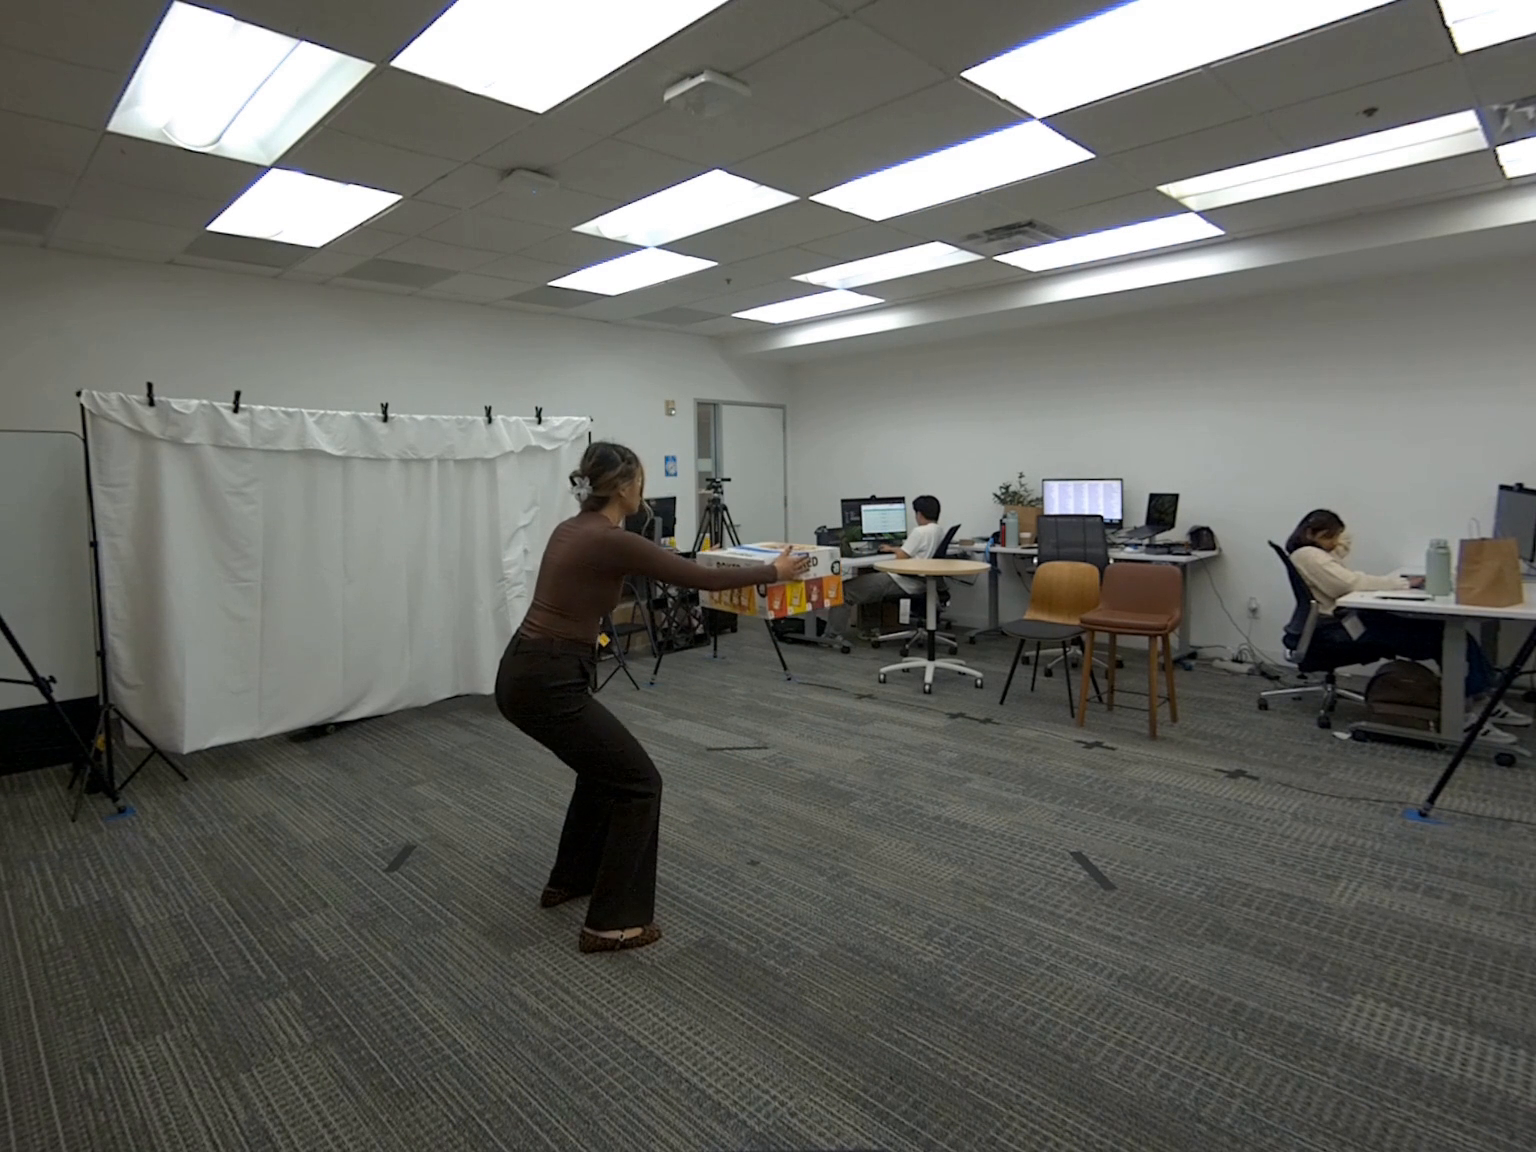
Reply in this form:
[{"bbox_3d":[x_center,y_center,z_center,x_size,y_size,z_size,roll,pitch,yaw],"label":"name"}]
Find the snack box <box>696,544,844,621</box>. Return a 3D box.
[{"bbox_3d":[-0.003,0.010,3.078,0.332,0.204,0.417,-9,9,-37],"label":"snack box"}]
